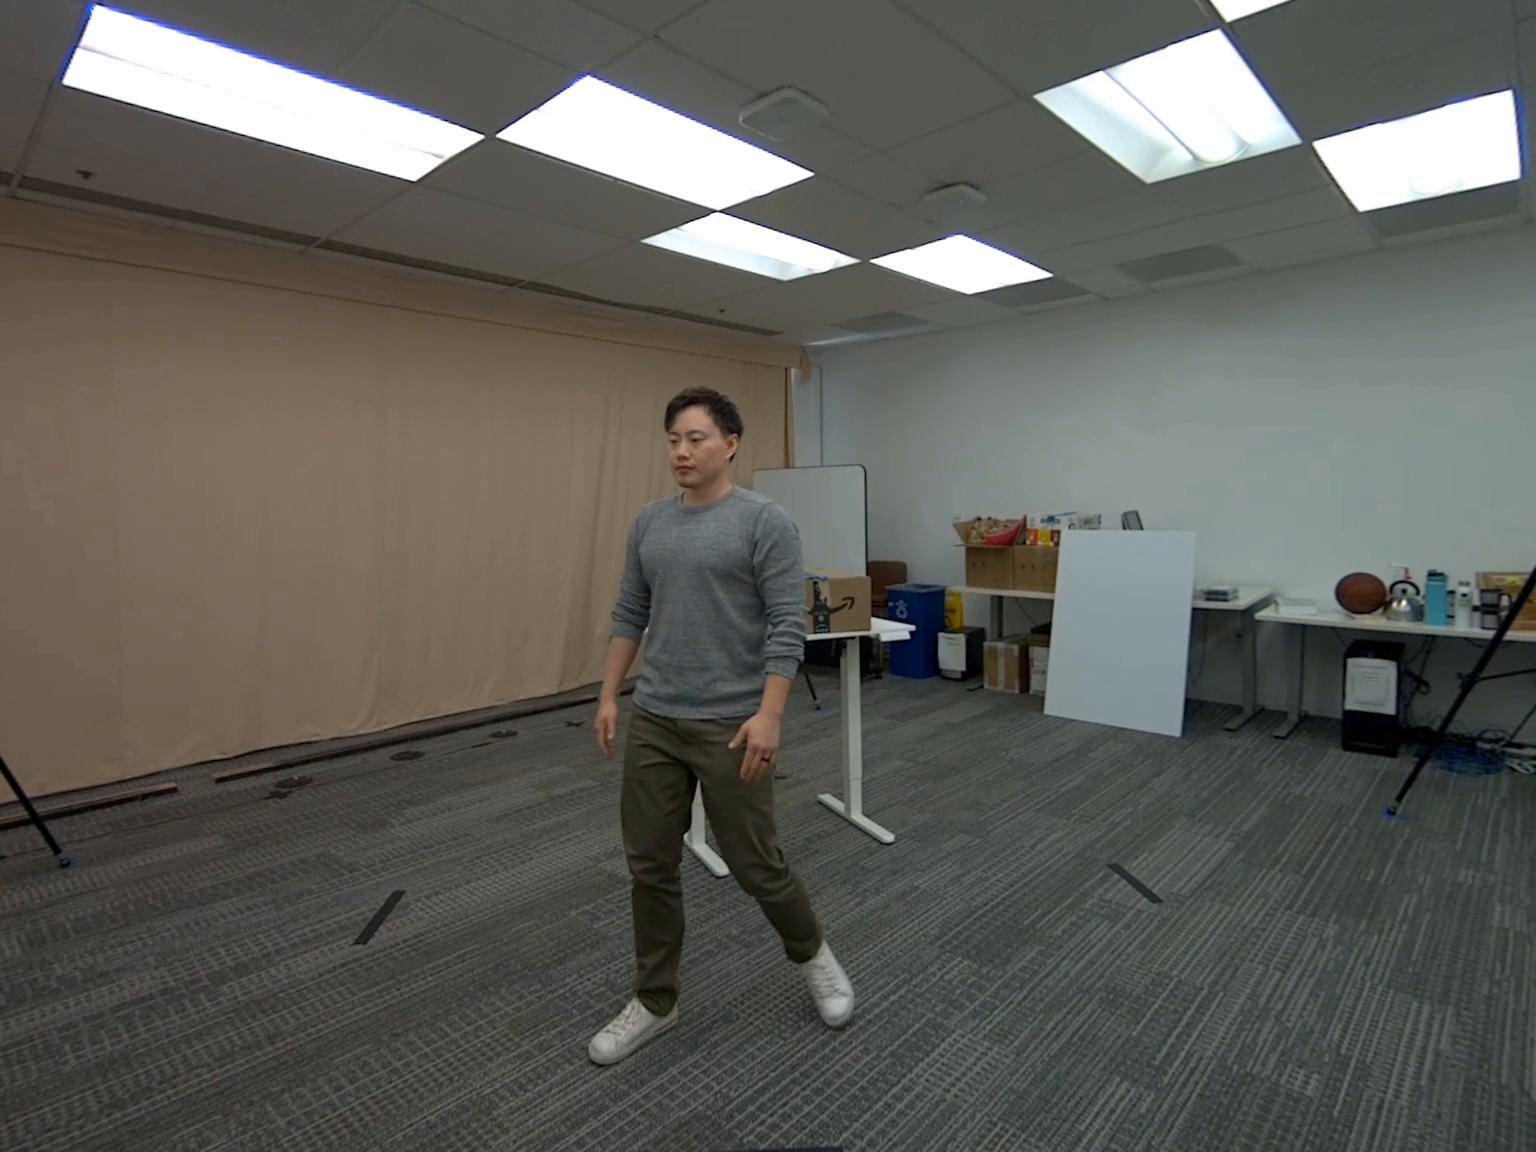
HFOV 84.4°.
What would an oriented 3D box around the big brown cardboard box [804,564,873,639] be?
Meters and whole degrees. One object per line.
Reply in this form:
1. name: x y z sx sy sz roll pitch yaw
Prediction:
1. big brown cardboard box: 0.123 0.094 3.559 0.411 0.232 0.599 -3 5 -15
